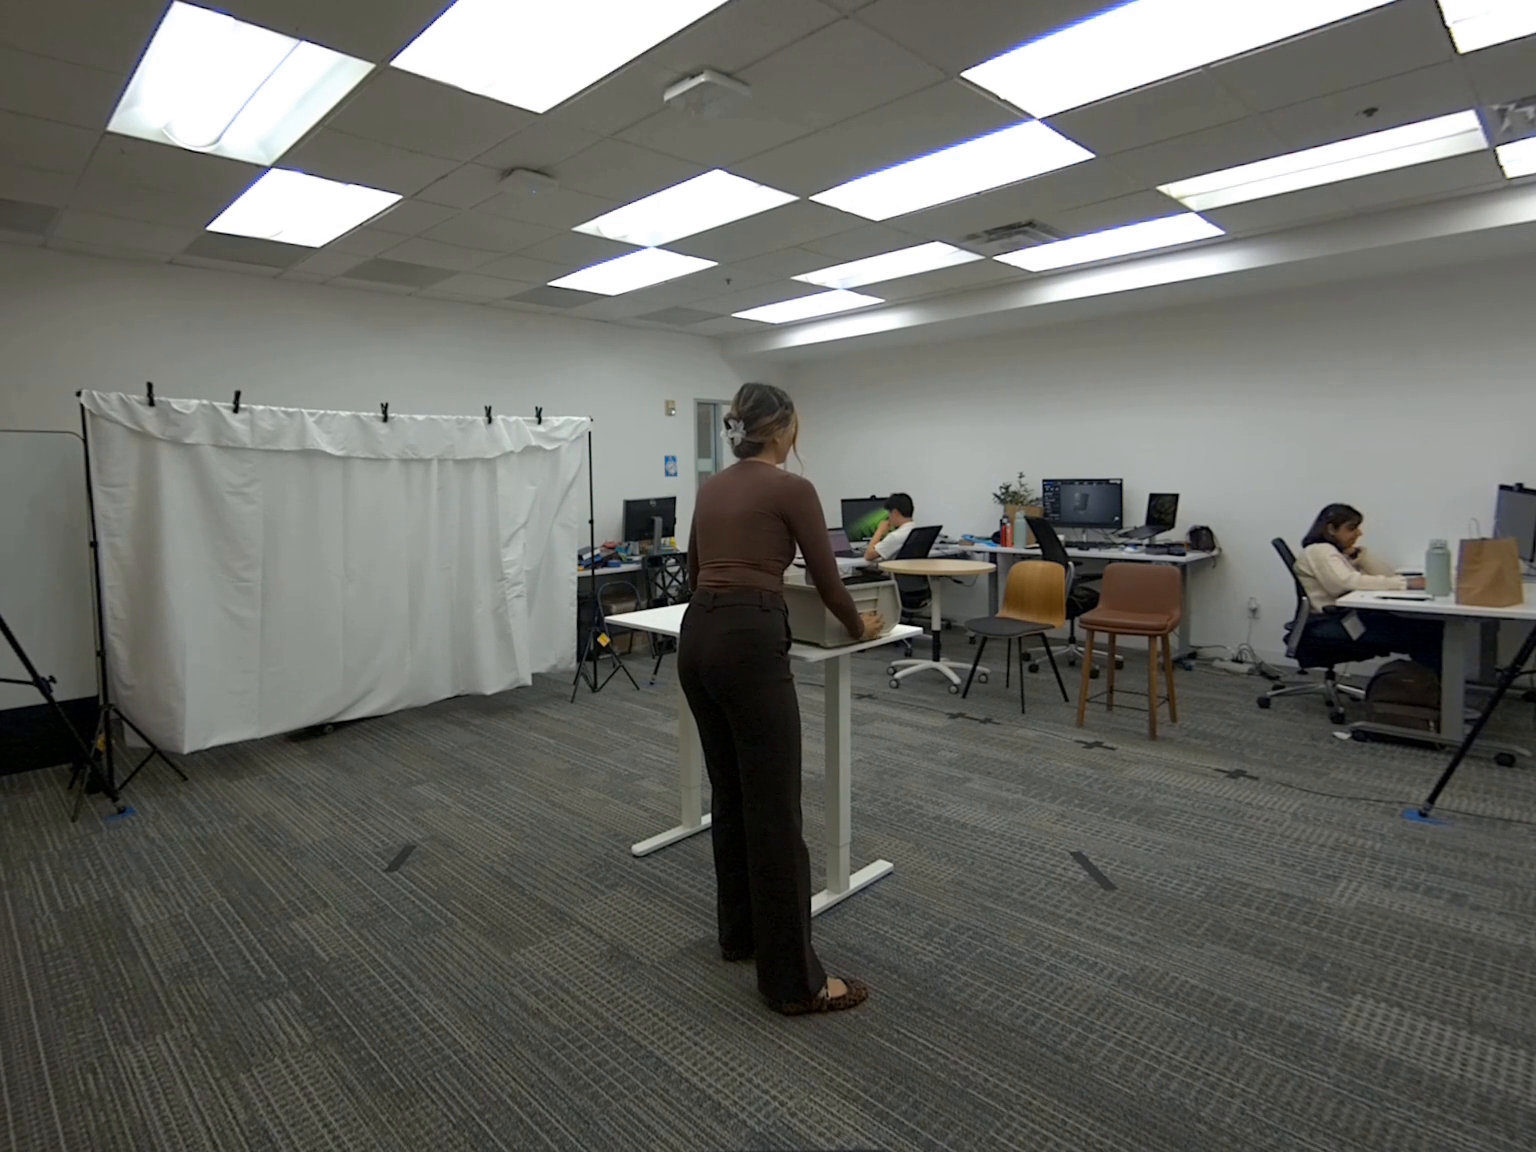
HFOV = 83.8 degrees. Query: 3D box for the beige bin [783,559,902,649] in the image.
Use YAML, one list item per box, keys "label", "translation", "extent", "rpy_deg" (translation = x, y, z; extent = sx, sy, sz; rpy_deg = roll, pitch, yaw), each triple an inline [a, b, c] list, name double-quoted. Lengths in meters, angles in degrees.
- label: "beige bin"
  translation: [0.162, 0.098, 2.823]
  extent: [0.367, 0.188, 0.436]
  rpy_deg: [-7, 9, -45]
